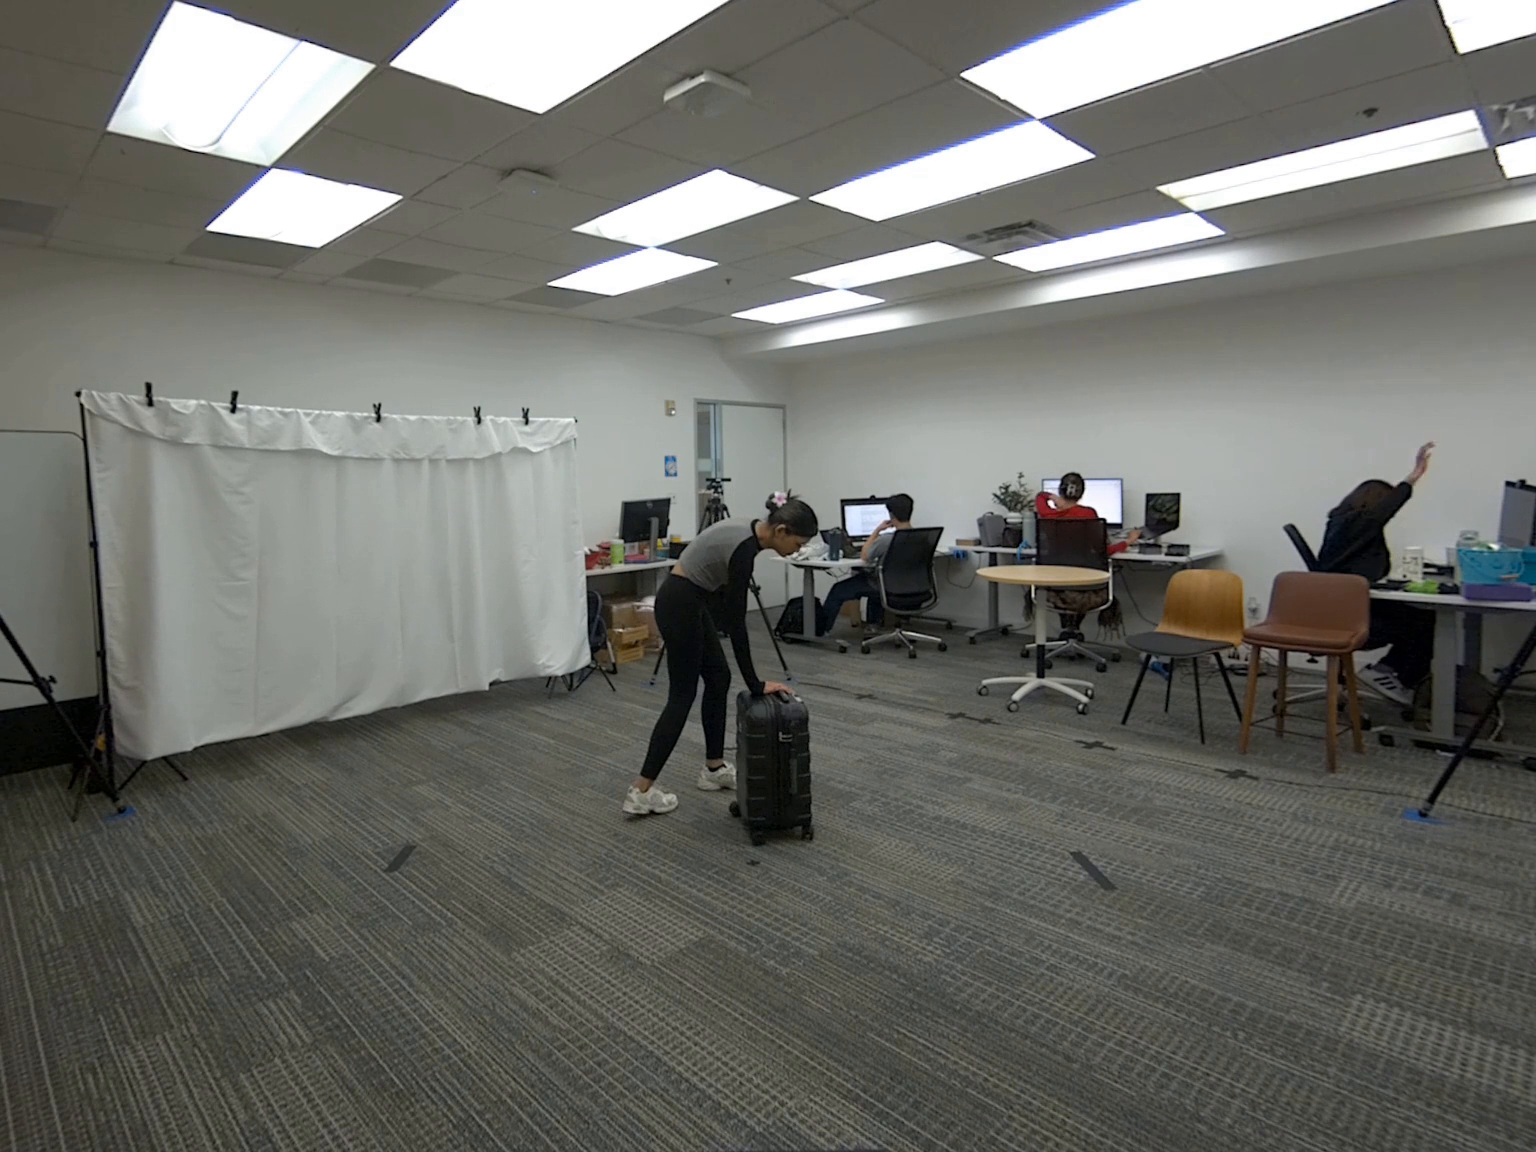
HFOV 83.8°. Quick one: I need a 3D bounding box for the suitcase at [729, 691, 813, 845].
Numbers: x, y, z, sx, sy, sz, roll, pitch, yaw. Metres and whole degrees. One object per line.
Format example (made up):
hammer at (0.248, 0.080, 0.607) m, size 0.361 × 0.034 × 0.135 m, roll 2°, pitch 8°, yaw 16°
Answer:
suitcase at (0.021, 0.734, 3.404) m, size 0.246 × 0.547 × 0.380 m, roll -2°, pitch 5°, yaw -11°
